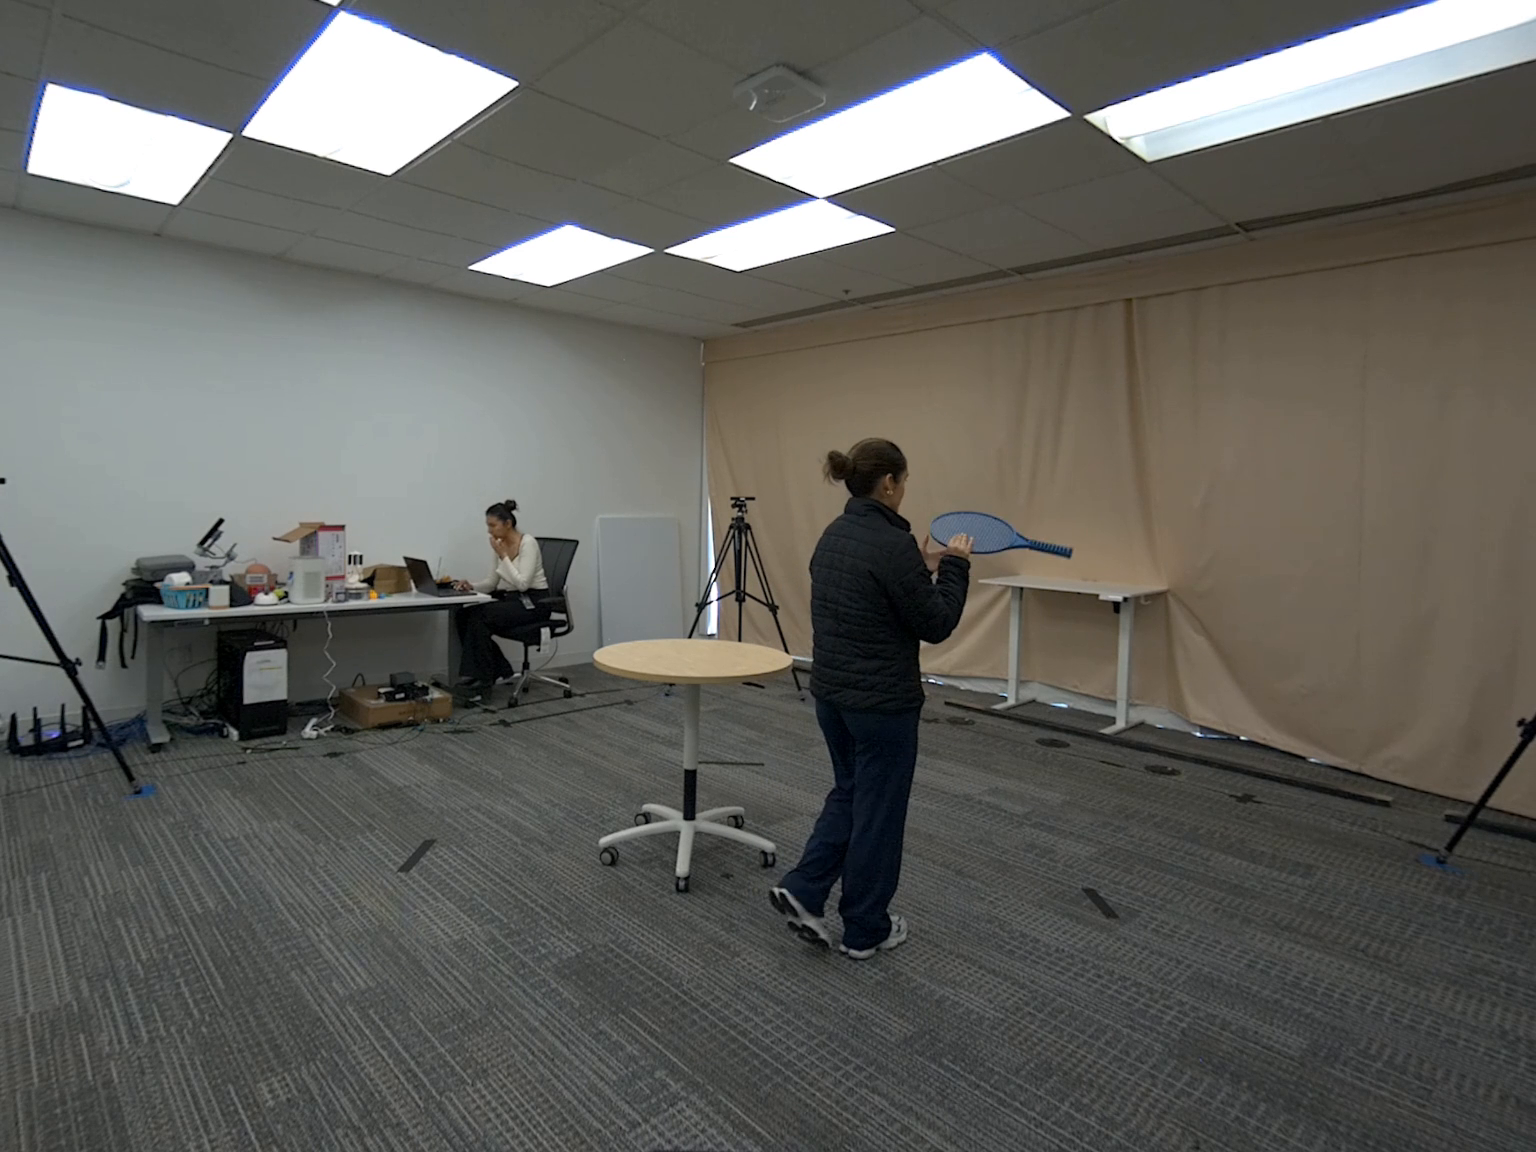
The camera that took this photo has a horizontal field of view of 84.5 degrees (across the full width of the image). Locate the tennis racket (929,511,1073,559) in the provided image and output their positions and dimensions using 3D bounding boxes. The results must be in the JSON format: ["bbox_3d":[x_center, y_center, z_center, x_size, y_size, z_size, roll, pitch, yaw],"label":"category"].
[{"bbox_3d":[0.699,-0.118,2.601,0.442,0.031,0.215,12,44,23],"label":"tennis racket"}]
